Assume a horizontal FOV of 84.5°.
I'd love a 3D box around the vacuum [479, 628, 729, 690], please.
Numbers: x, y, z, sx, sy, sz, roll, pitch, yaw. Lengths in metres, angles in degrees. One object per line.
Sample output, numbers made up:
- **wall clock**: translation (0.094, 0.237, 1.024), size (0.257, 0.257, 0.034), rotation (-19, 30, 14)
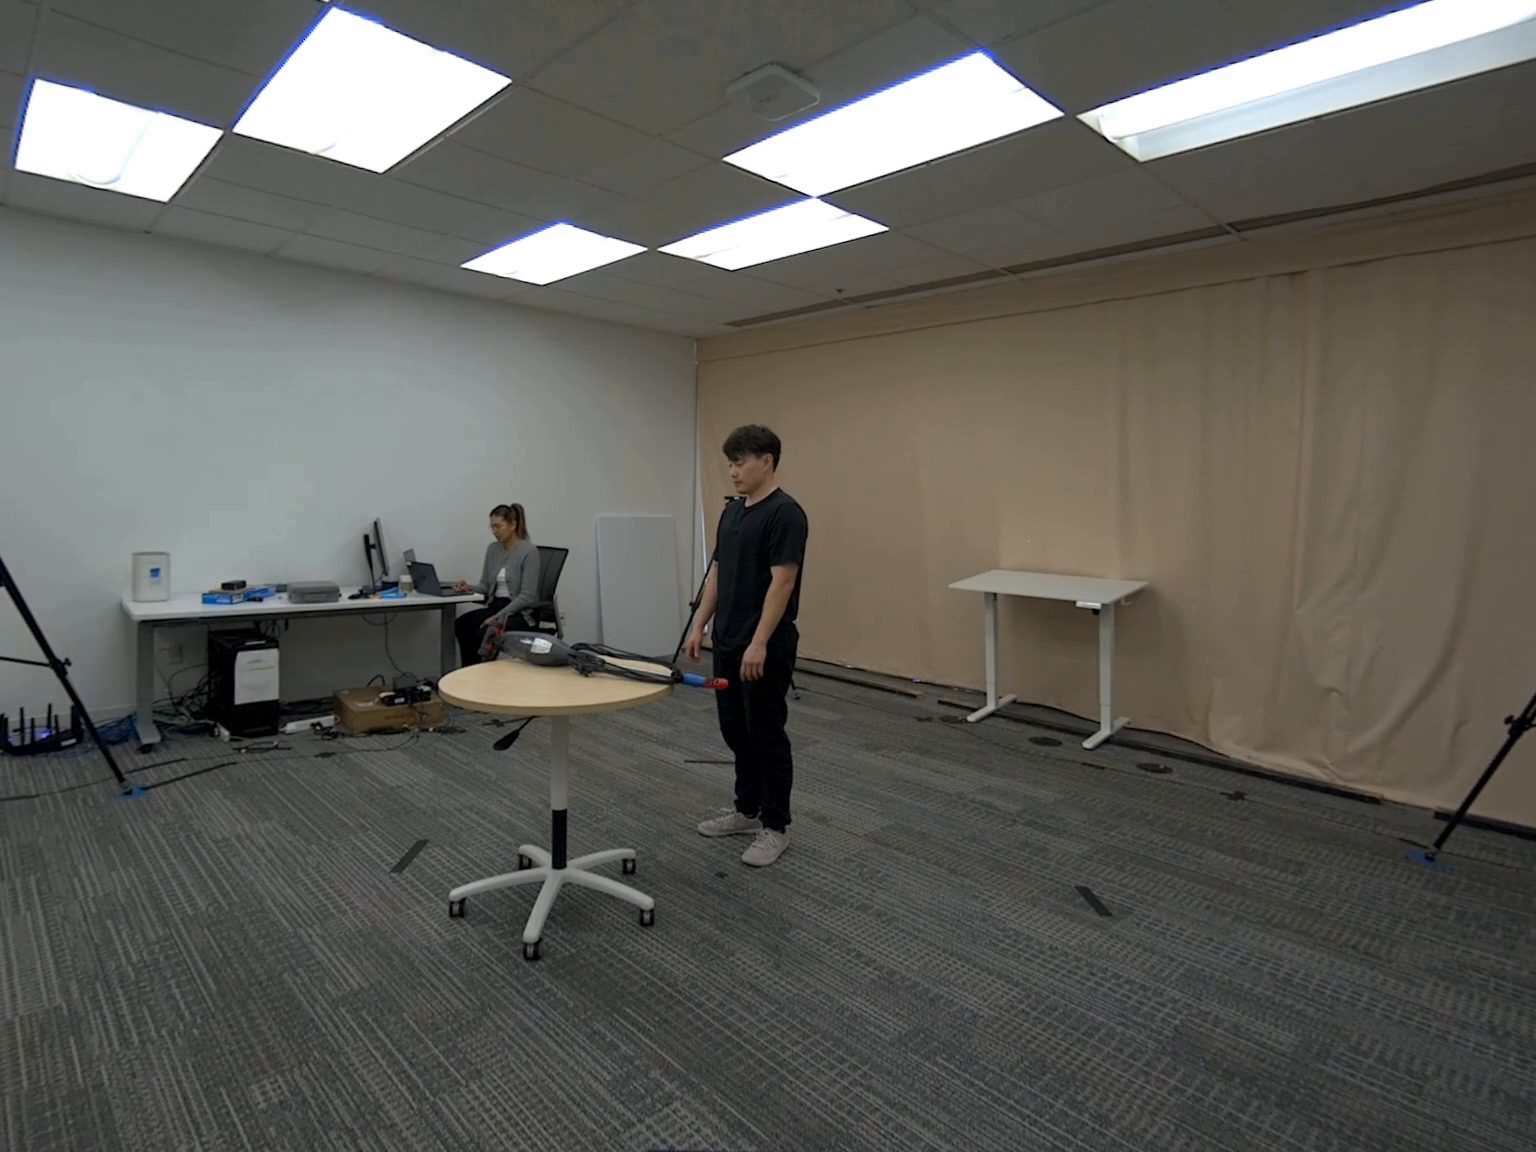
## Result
- **vacuum**: translation (-0.606, 0.301, 2.871), size (1.074, 0.255, 0.139), rotation (5, -25, 32)
